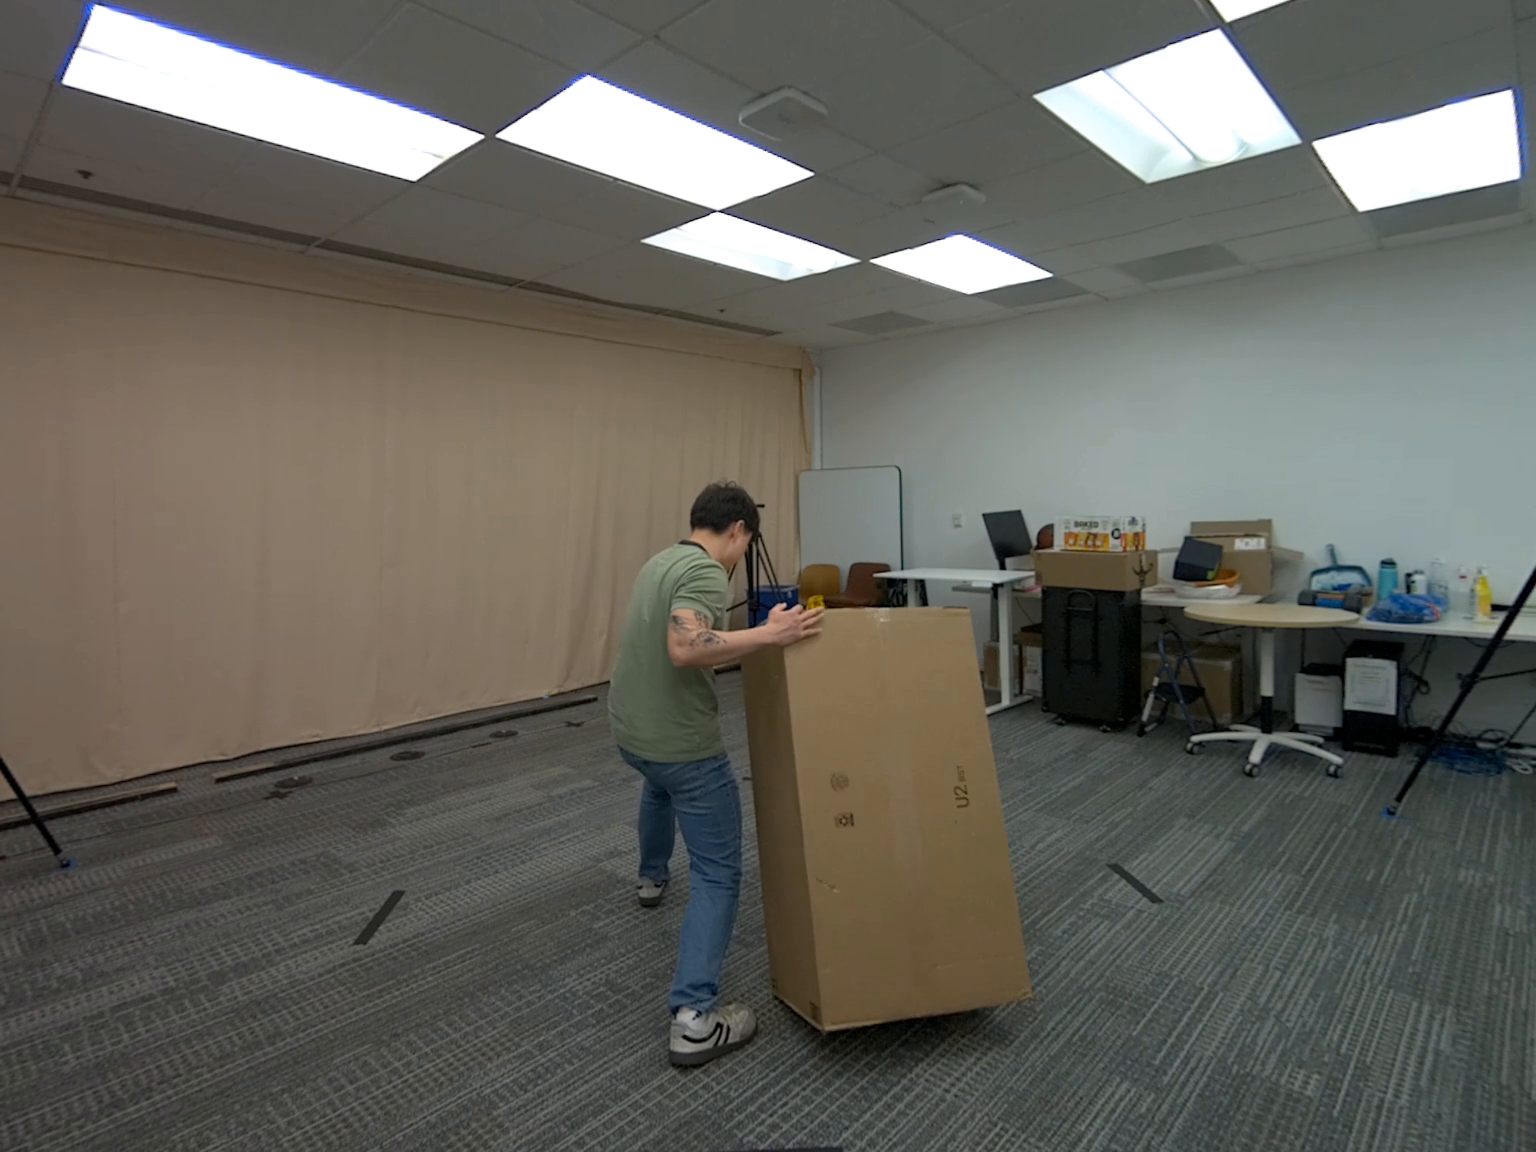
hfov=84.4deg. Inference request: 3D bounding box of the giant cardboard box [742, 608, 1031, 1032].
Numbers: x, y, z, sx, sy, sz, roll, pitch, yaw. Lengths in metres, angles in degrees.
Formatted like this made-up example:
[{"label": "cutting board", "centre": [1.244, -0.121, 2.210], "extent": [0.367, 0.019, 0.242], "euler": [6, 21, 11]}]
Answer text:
[{"label": "giant cardboard box", "centre": [0.298, 0.643, 2.397], "extent": [0.569, 1.036, 0.428], "euler": [-1, -15, -15]}]
